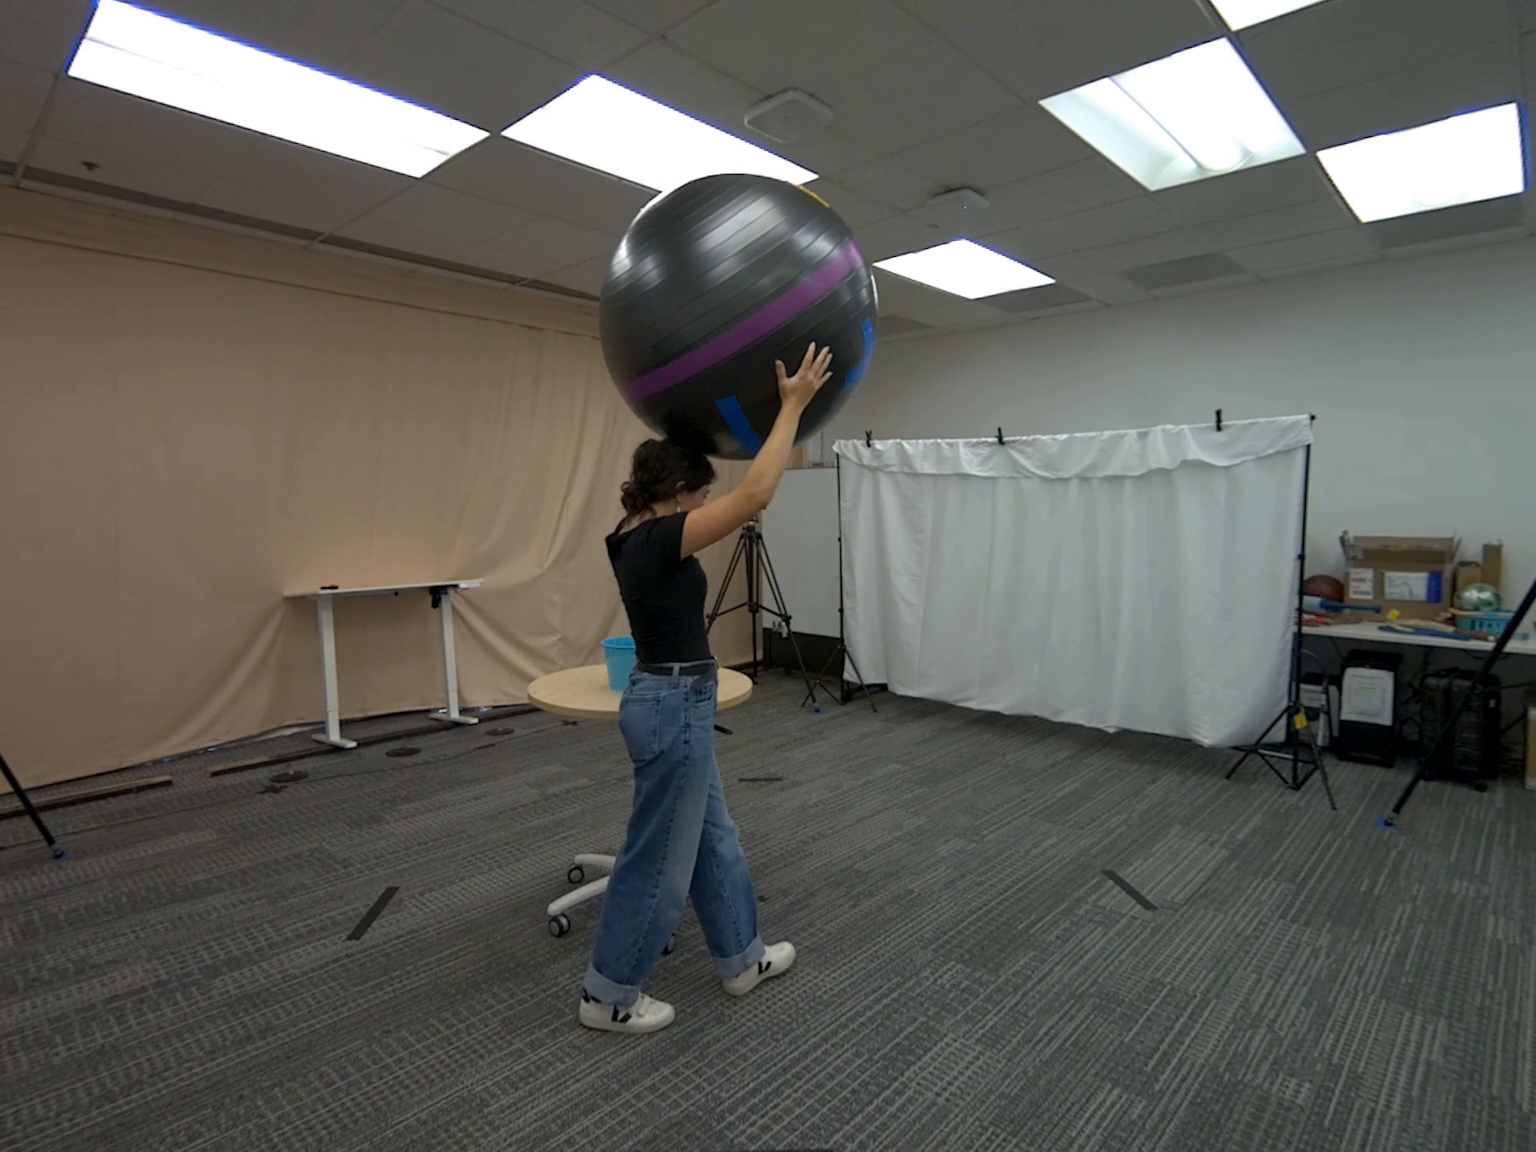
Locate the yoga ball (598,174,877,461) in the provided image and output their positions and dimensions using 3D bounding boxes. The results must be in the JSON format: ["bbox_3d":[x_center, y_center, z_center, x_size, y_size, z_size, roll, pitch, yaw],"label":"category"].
[{"bbox_3d":[-0.079,-0.698,2.319,0.757,0.756,0.760,0,4,-2],"label":"yoga ball"}]
